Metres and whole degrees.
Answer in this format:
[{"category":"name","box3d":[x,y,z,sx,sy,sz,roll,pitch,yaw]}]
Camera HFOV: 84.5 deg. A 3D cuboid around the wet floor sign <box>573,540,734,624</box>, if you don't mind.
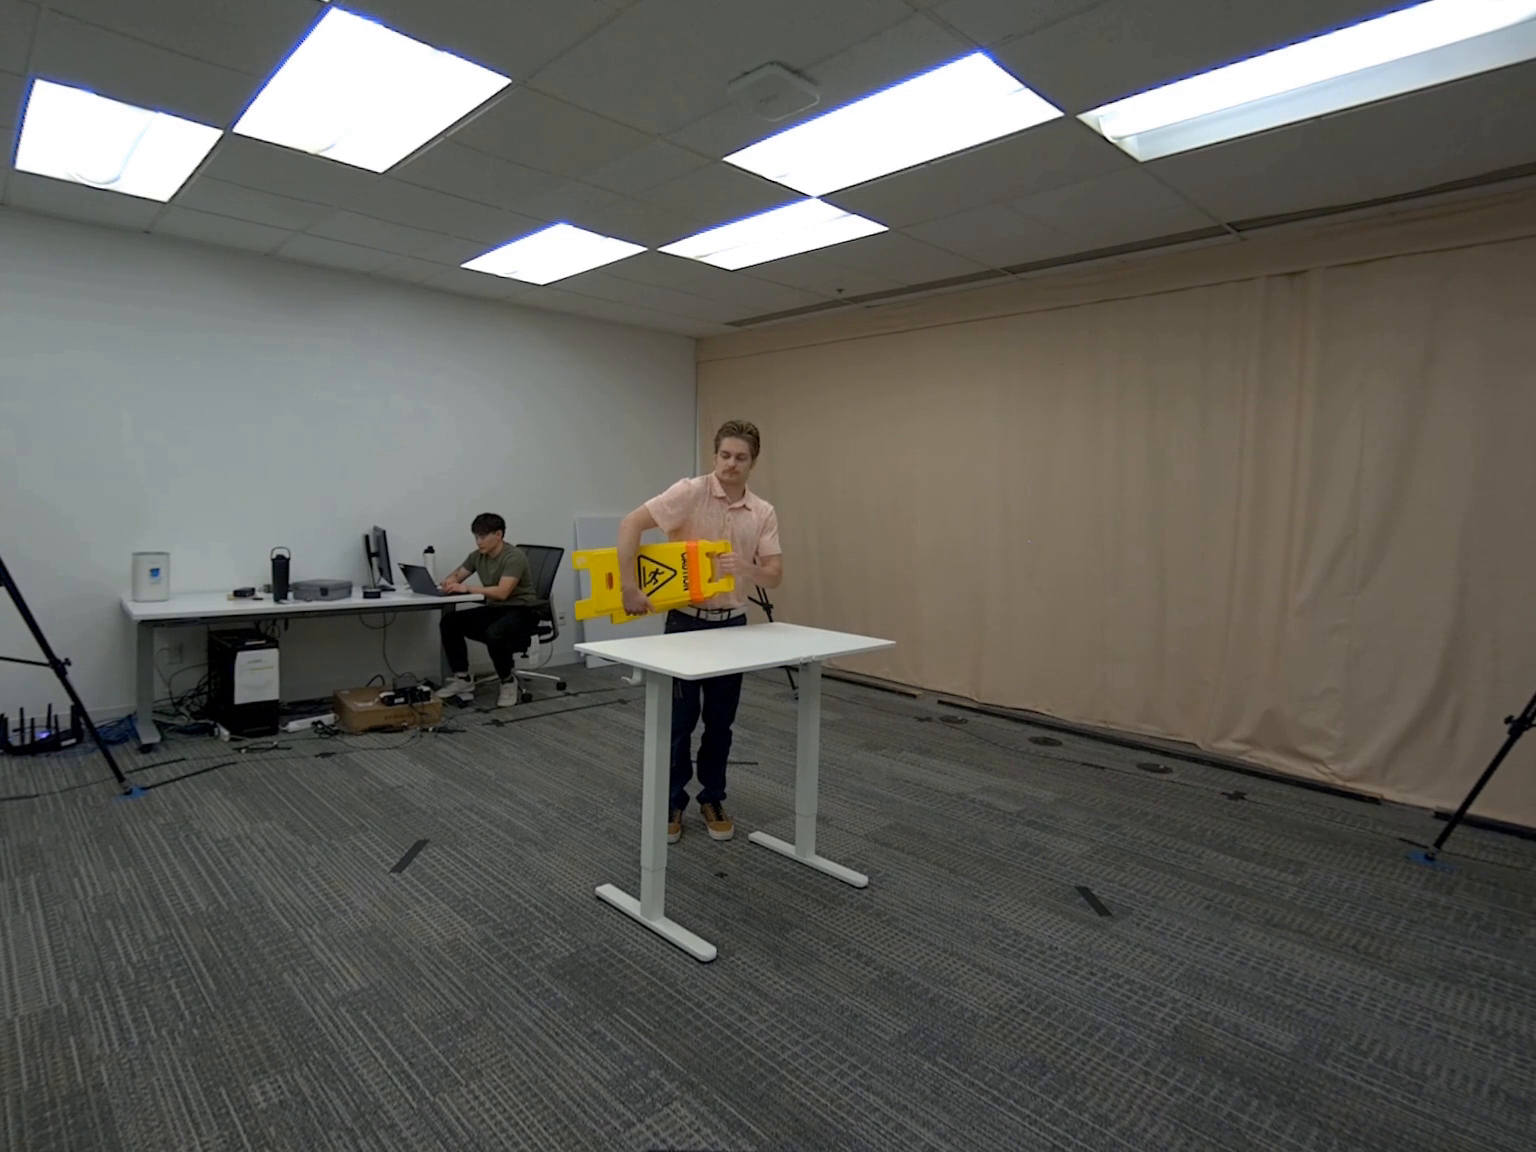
[{"category":"wet floor sign","box3d":[-0.444,0.012,3.351,0.655,0.285,0.283,-10,-11,25]}]
